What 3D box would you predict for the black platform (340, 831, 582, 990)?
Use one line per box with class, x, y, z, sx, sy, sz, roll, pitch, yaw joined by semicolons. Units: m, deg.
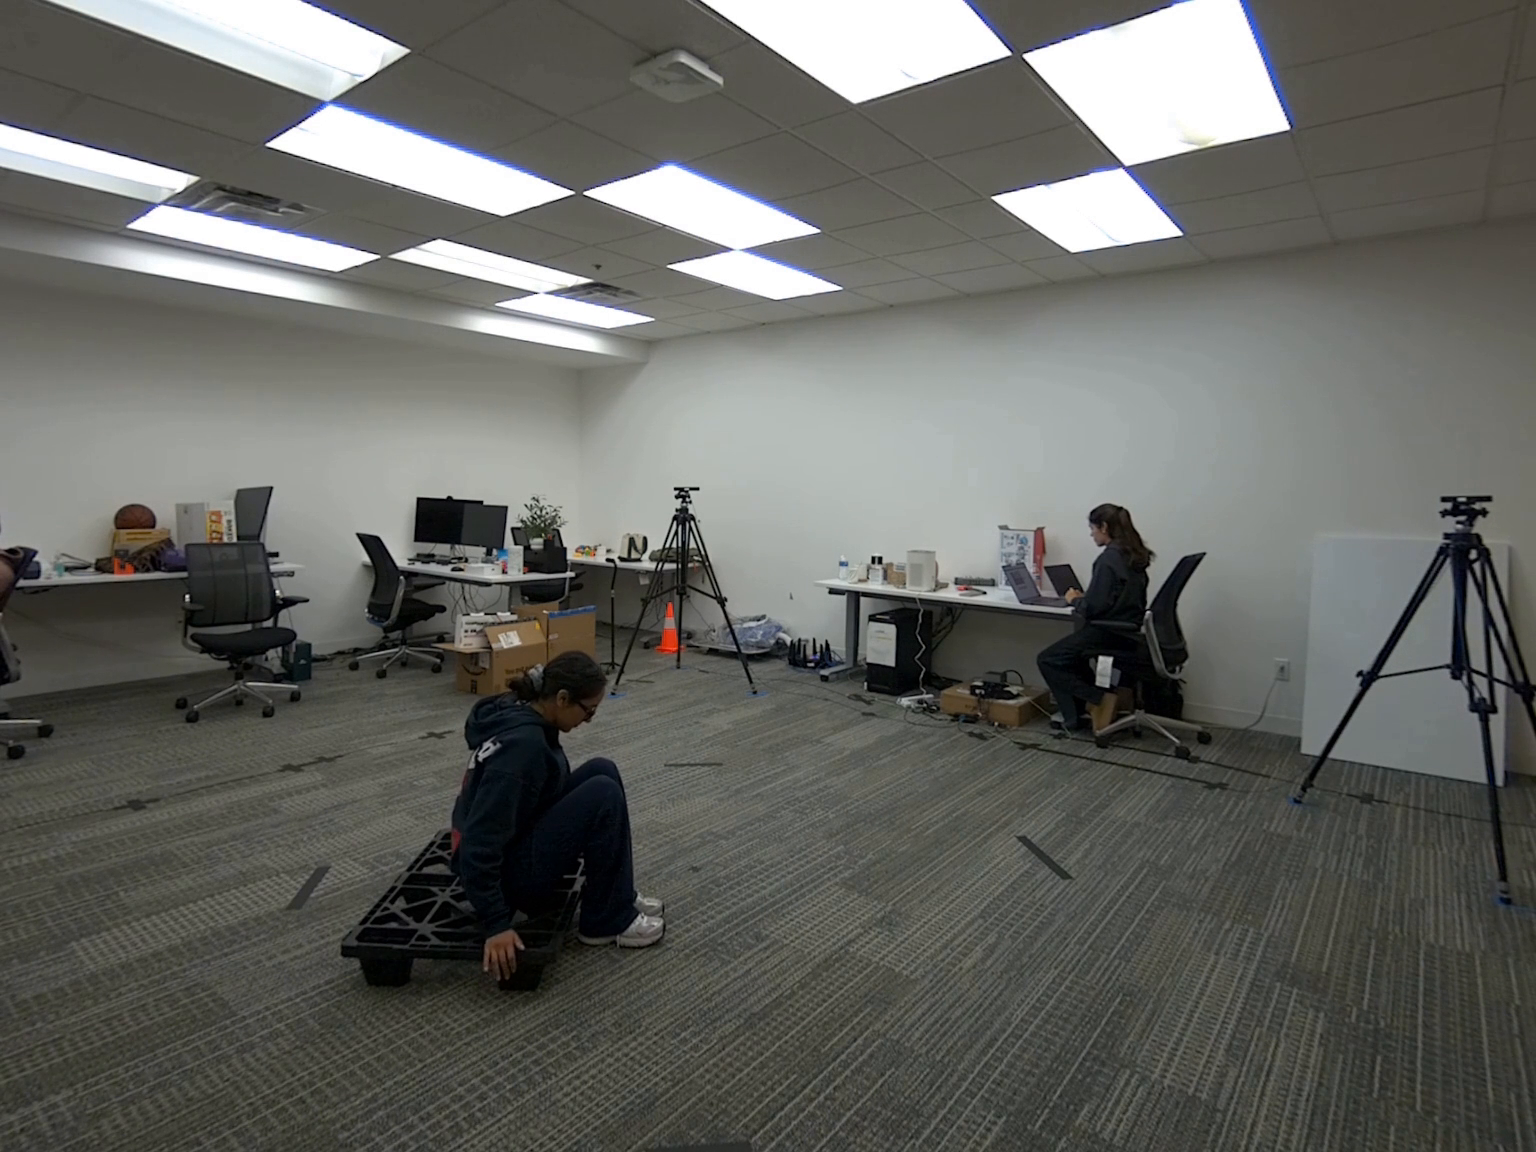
black platform;-0.902;1.030;2.707;0.605;0.143;0.809;0;6;-1
